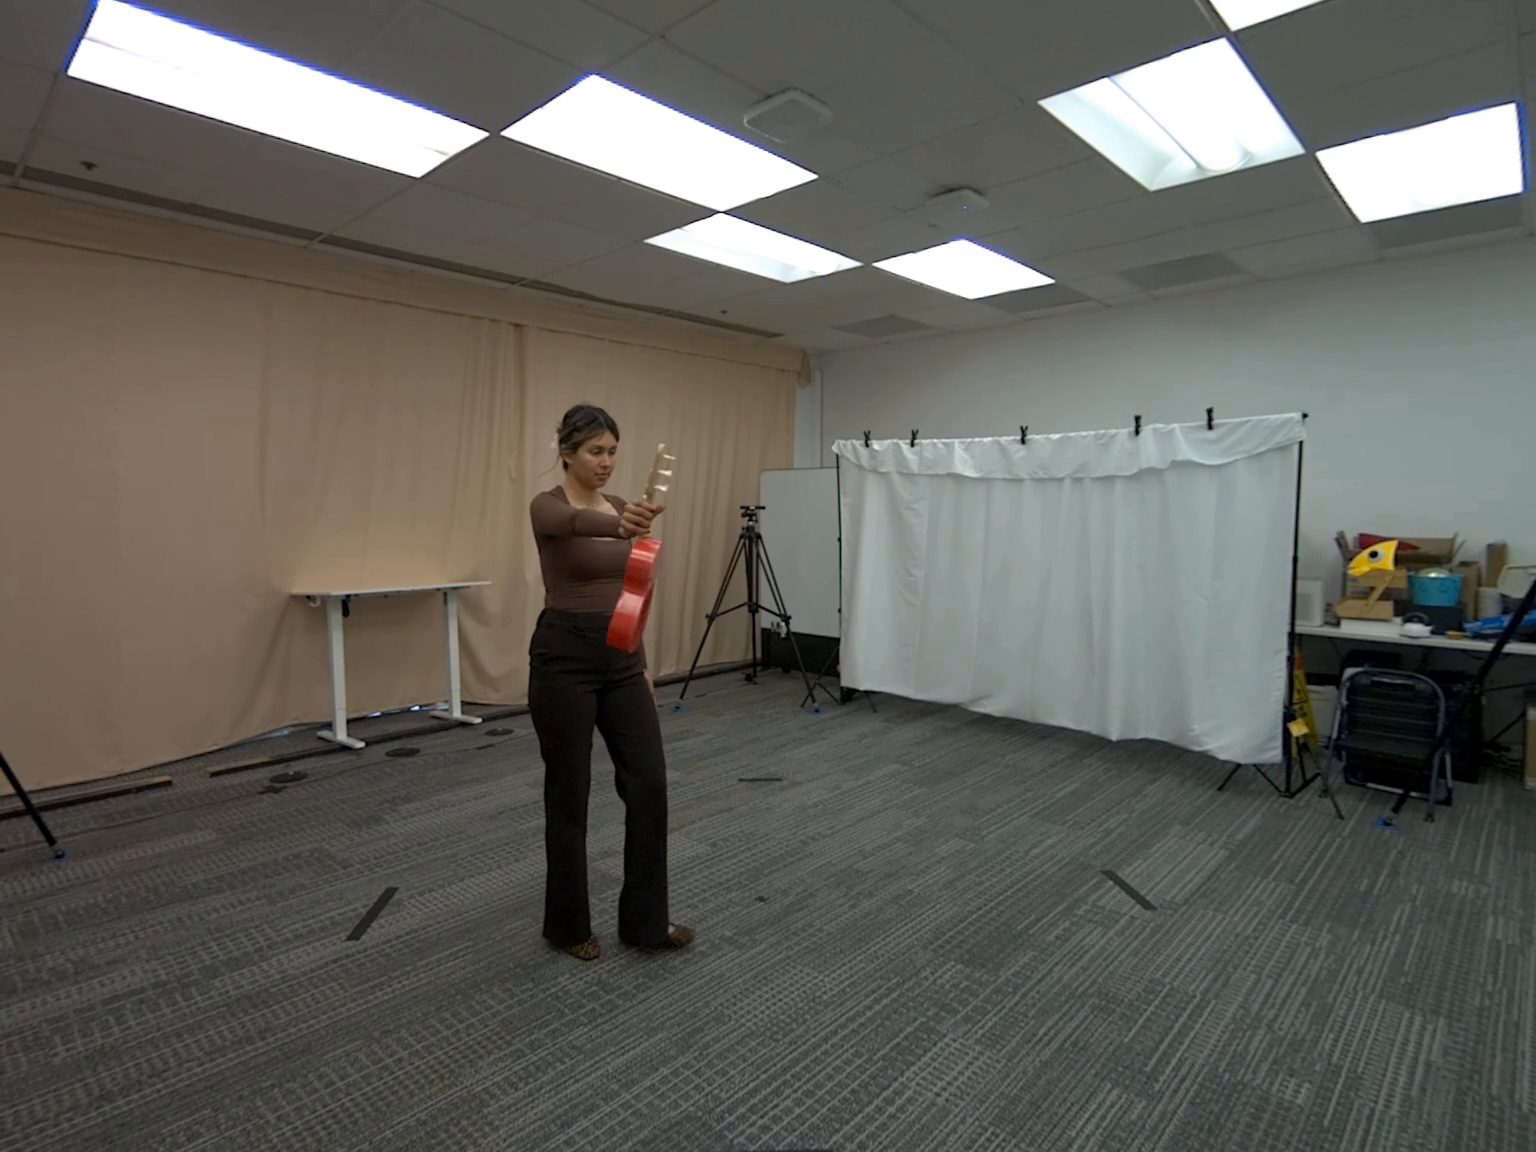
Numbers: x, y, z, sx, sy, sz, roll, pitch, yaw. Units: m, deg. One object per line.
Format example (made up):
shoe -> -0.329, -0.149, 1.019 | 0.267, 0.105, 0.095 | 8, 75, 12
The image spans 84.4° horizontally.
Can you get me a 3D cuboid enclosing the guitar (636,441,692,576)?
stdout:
guitar -> -0.293, -0.057, 1.995 | 0.071, 0.495, 0.194 | 17, 16, -2
